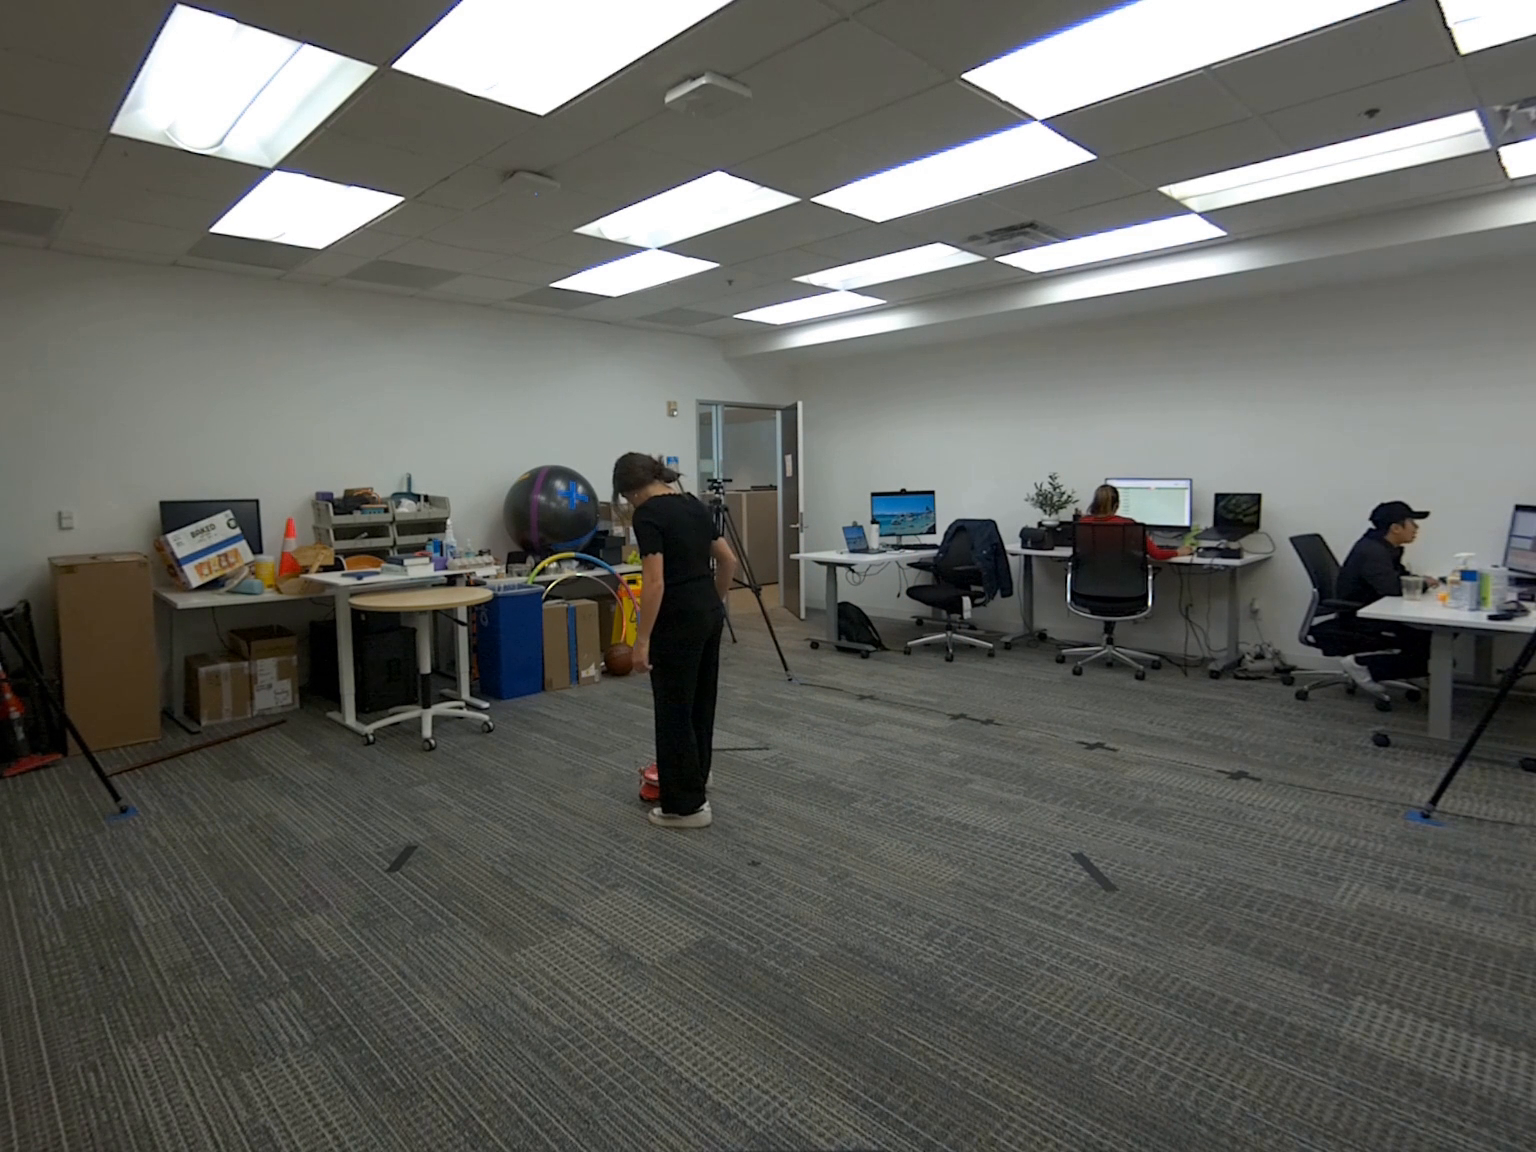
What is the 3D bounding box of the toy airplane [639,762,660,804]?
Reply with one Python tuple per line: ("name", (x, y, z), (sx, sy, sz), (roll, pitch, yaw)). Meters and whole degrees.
("toy airplane", (-0.437, 0.902, 3.763), (0.256, 0.155, 0.255), (-4, 7, -13))
